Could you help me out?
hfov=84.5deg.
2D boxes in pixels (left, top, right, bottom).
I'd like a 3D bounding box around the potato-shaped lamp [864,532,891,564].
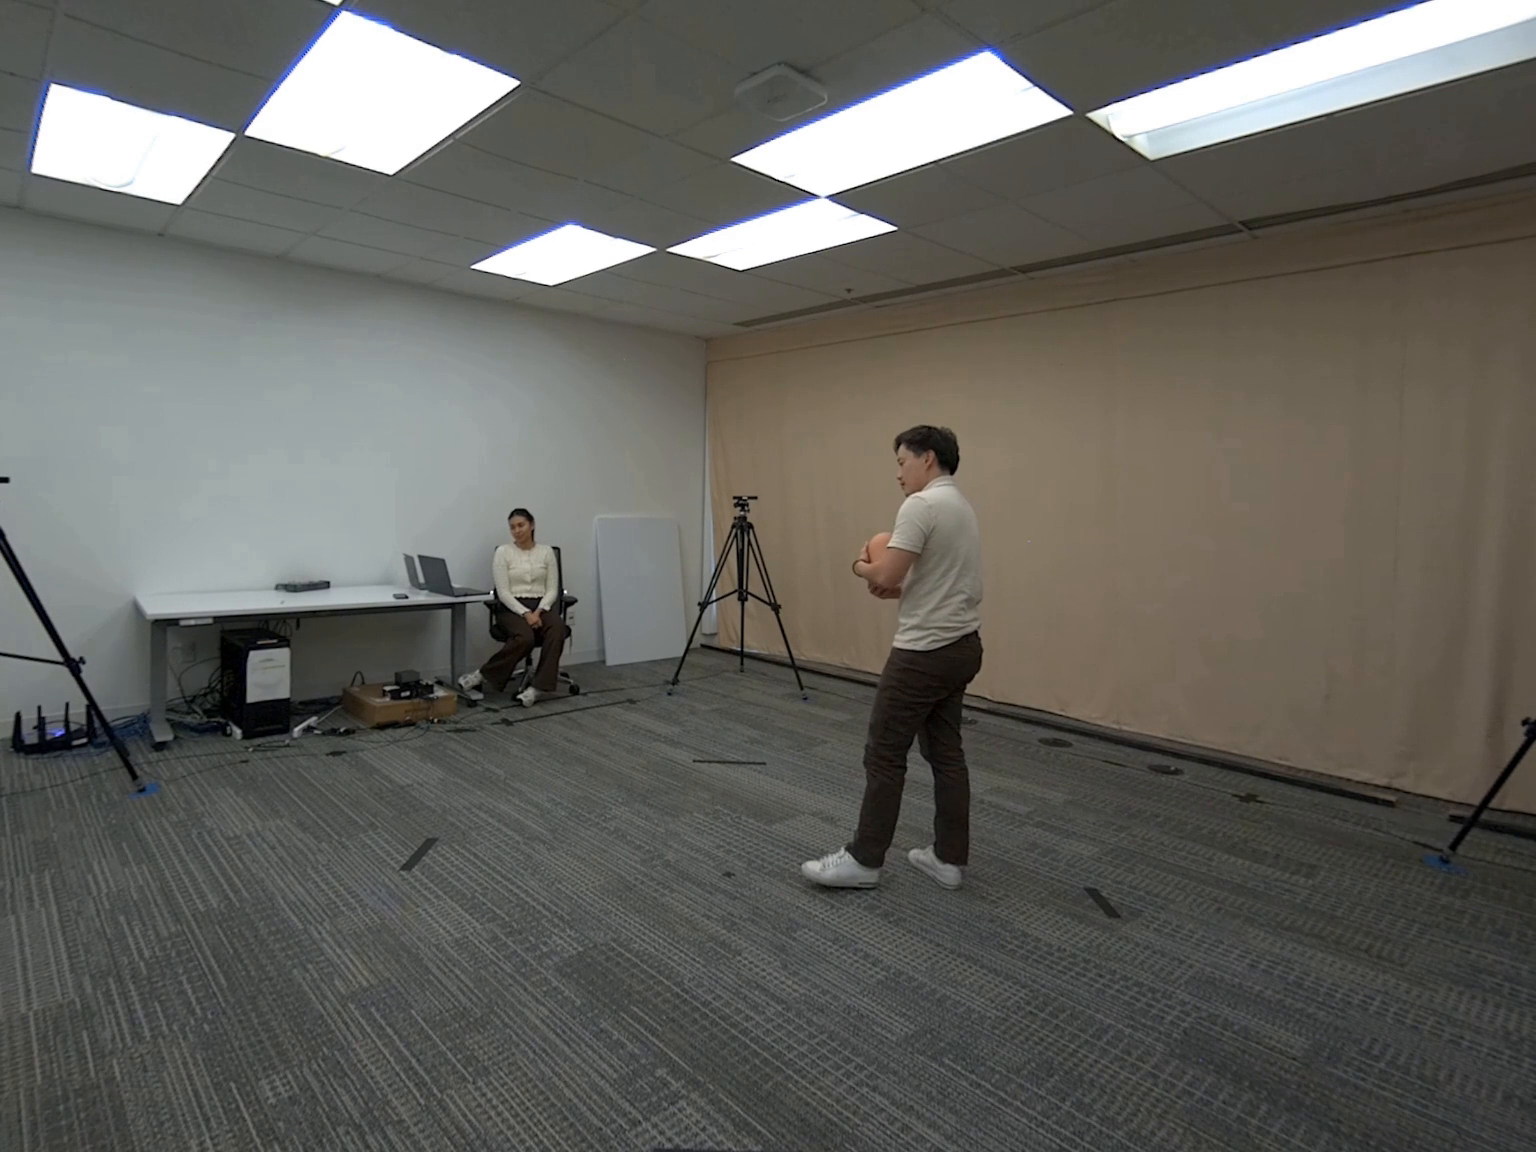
[{"bbox_3d":[0.469,-0.062,3.167,0.174,0.200,0.161,-20,-11,33],"label":"potato-shaped lamp"}]
